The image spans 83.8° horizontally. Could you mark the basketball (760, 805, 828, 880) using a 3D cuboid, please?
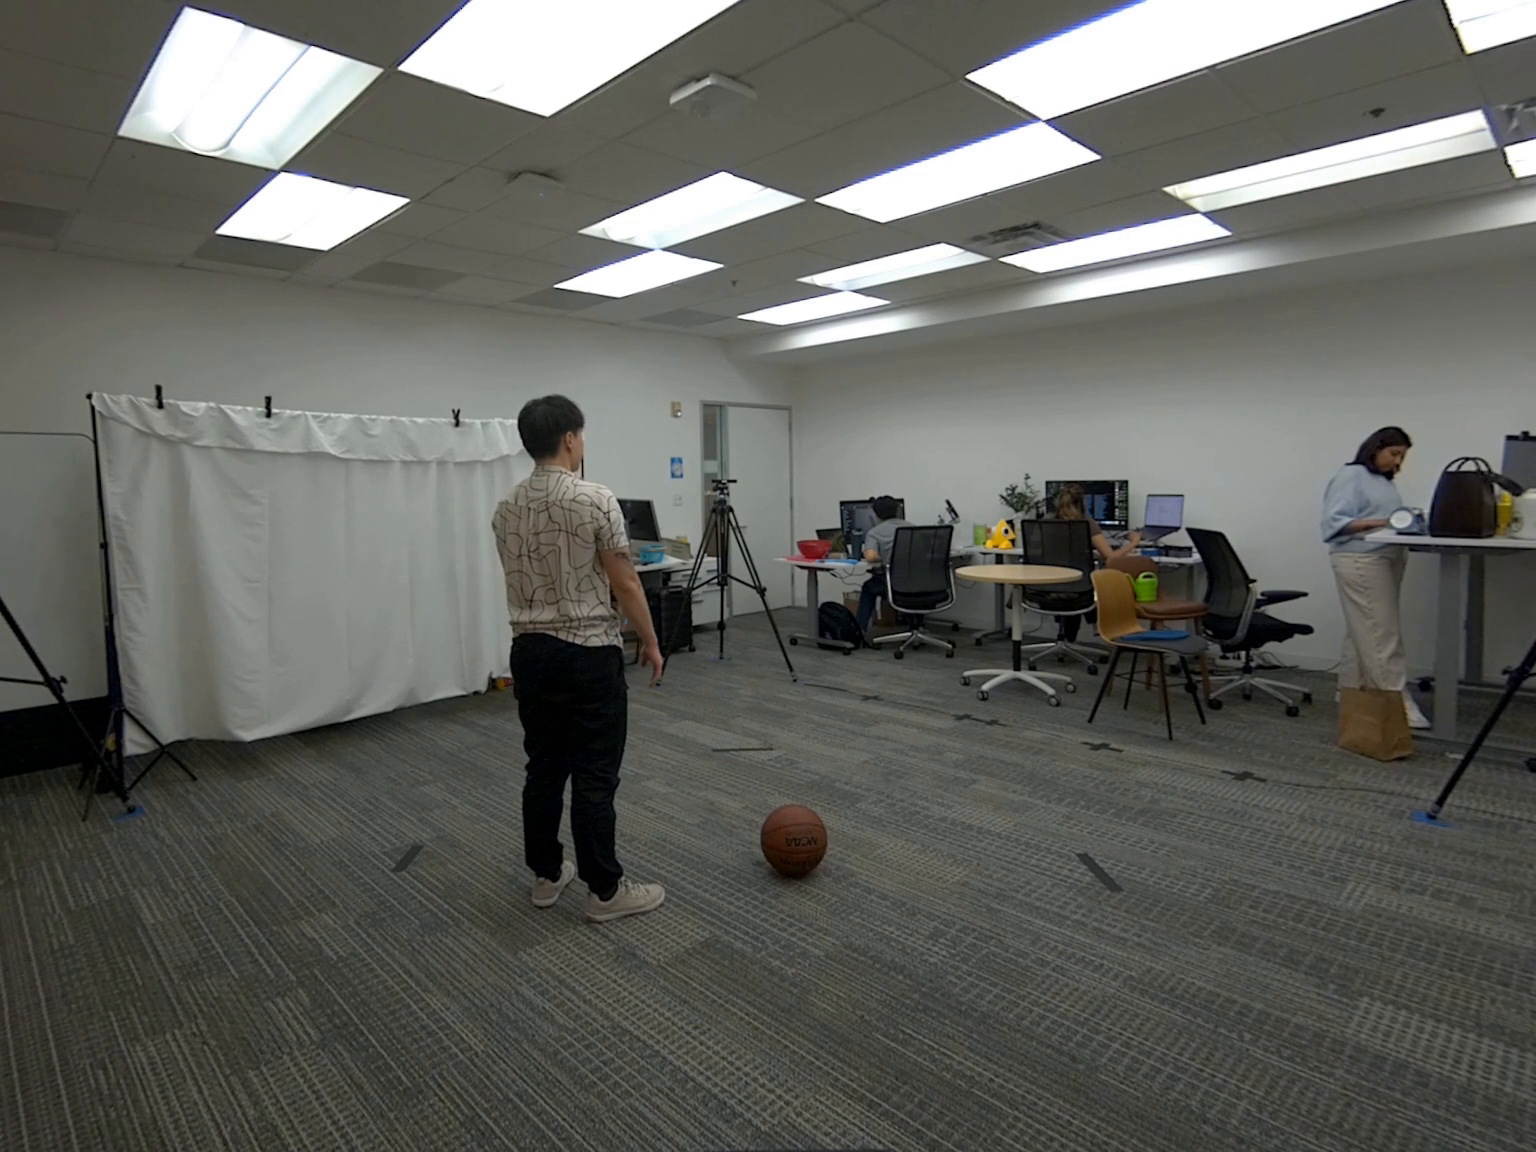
[{"bbox_3d":[0.092,0.929,3.034,0.236,0.235,0.237,-1,5,-2],"label":"basketball"}]
